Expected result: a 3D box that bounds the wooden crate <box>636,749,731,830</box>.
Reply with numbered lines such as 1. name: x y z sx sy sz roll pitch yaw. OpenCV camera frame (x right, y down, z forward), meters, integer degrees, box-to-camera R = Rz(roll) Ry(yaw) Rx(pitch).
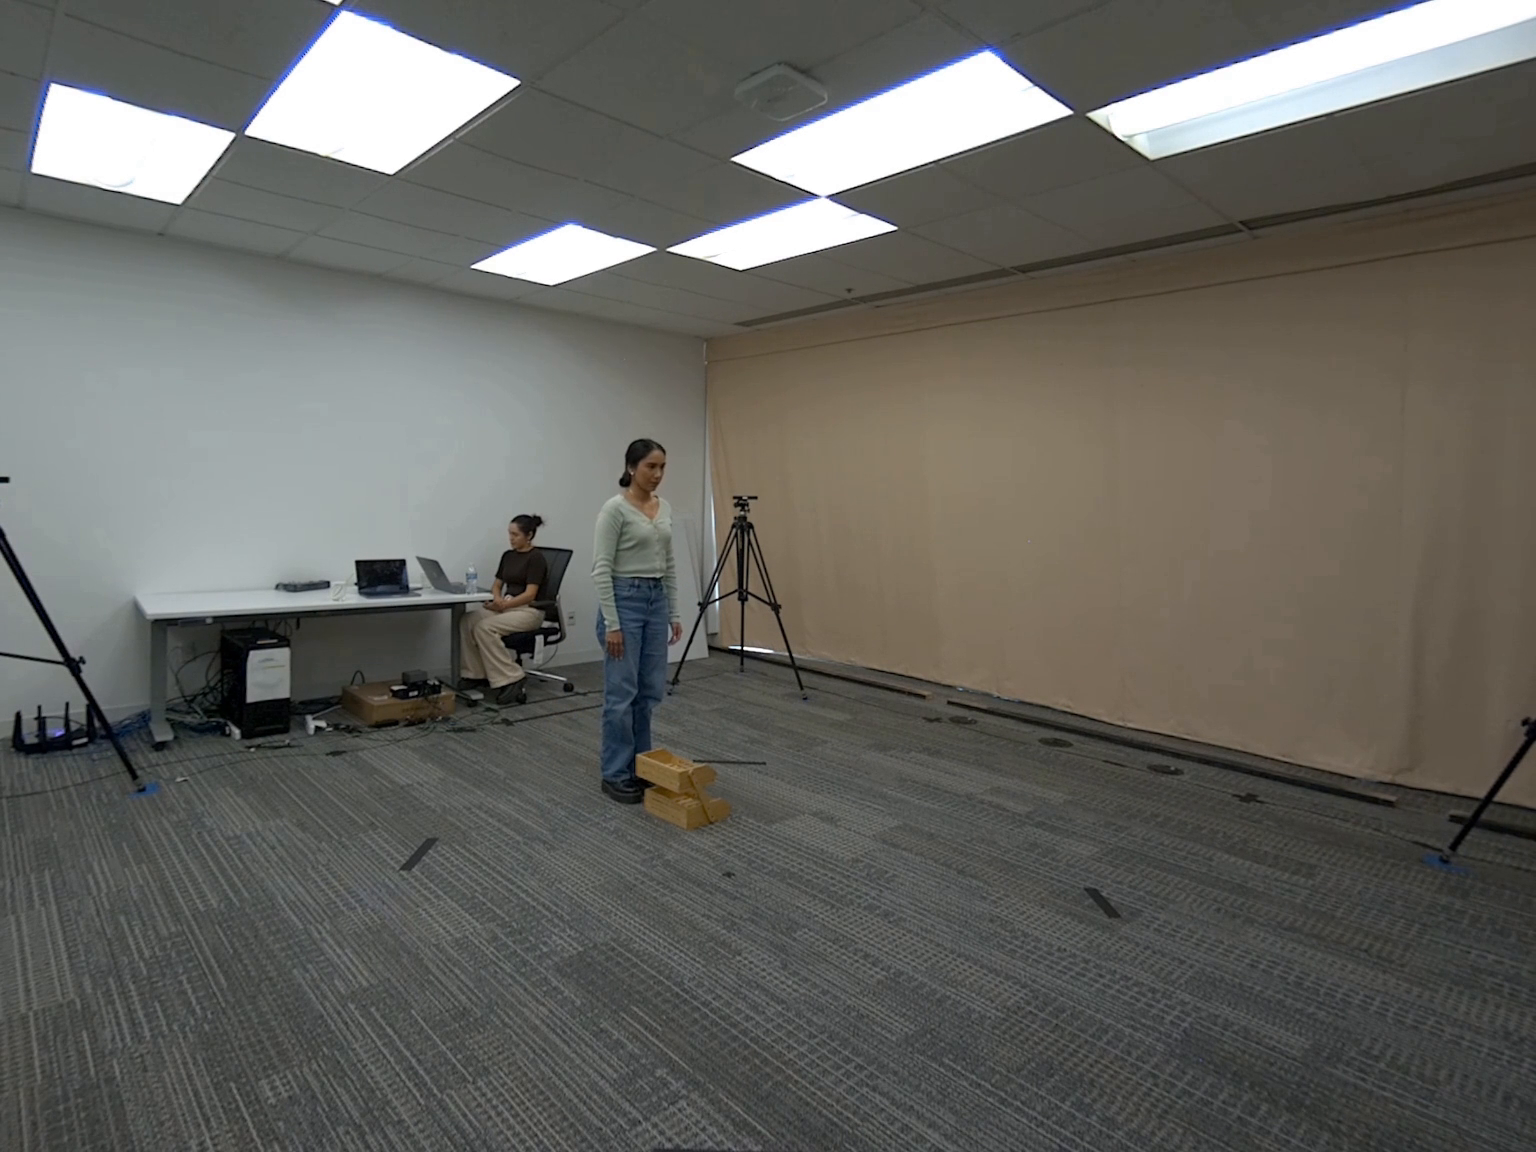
1. wooden crate: -0.379 0.913 3.685 0.295 0.272 0.333 -4 7 -44
